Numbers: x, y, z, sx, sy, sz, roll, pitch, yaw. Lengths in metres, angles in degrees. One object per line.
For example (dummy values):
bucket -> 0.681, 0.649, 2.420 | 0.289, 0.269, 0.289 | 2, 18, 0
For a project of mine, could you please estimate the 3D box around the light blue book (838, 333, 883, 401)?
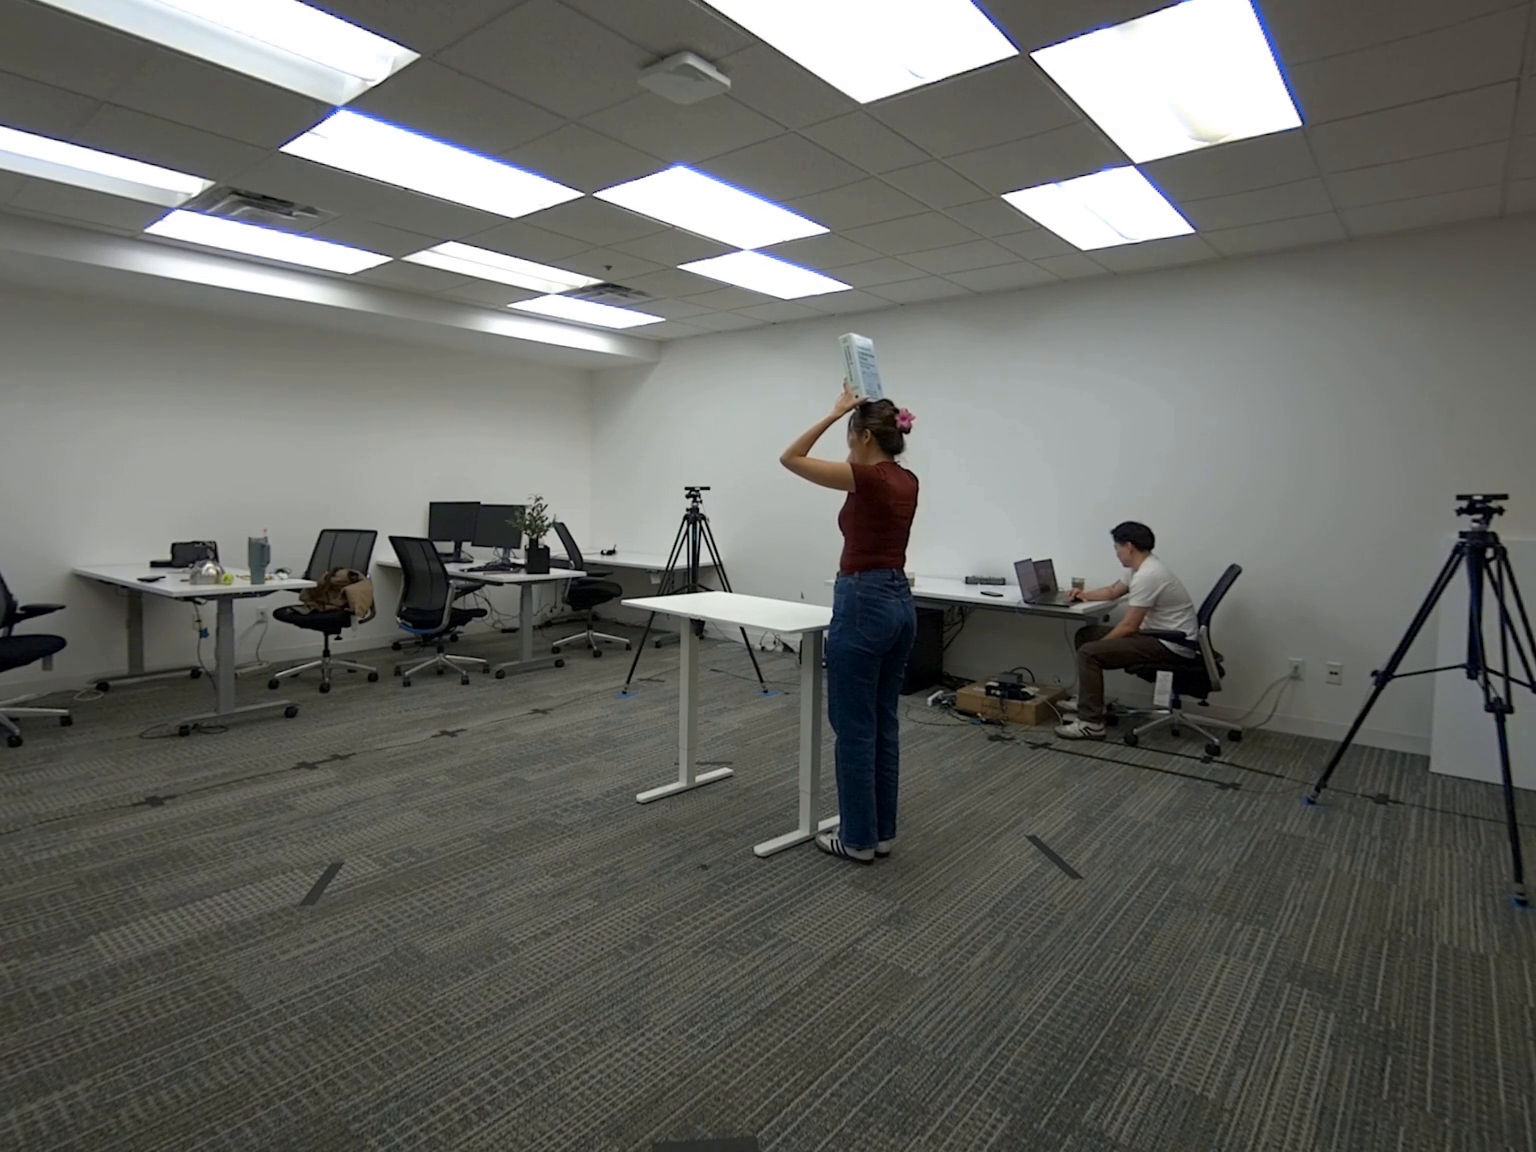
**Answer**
light blue book -> 0.349, -0.776, 3.218 | 0.060, 0.262, 0.186 | -13, -4, 30
